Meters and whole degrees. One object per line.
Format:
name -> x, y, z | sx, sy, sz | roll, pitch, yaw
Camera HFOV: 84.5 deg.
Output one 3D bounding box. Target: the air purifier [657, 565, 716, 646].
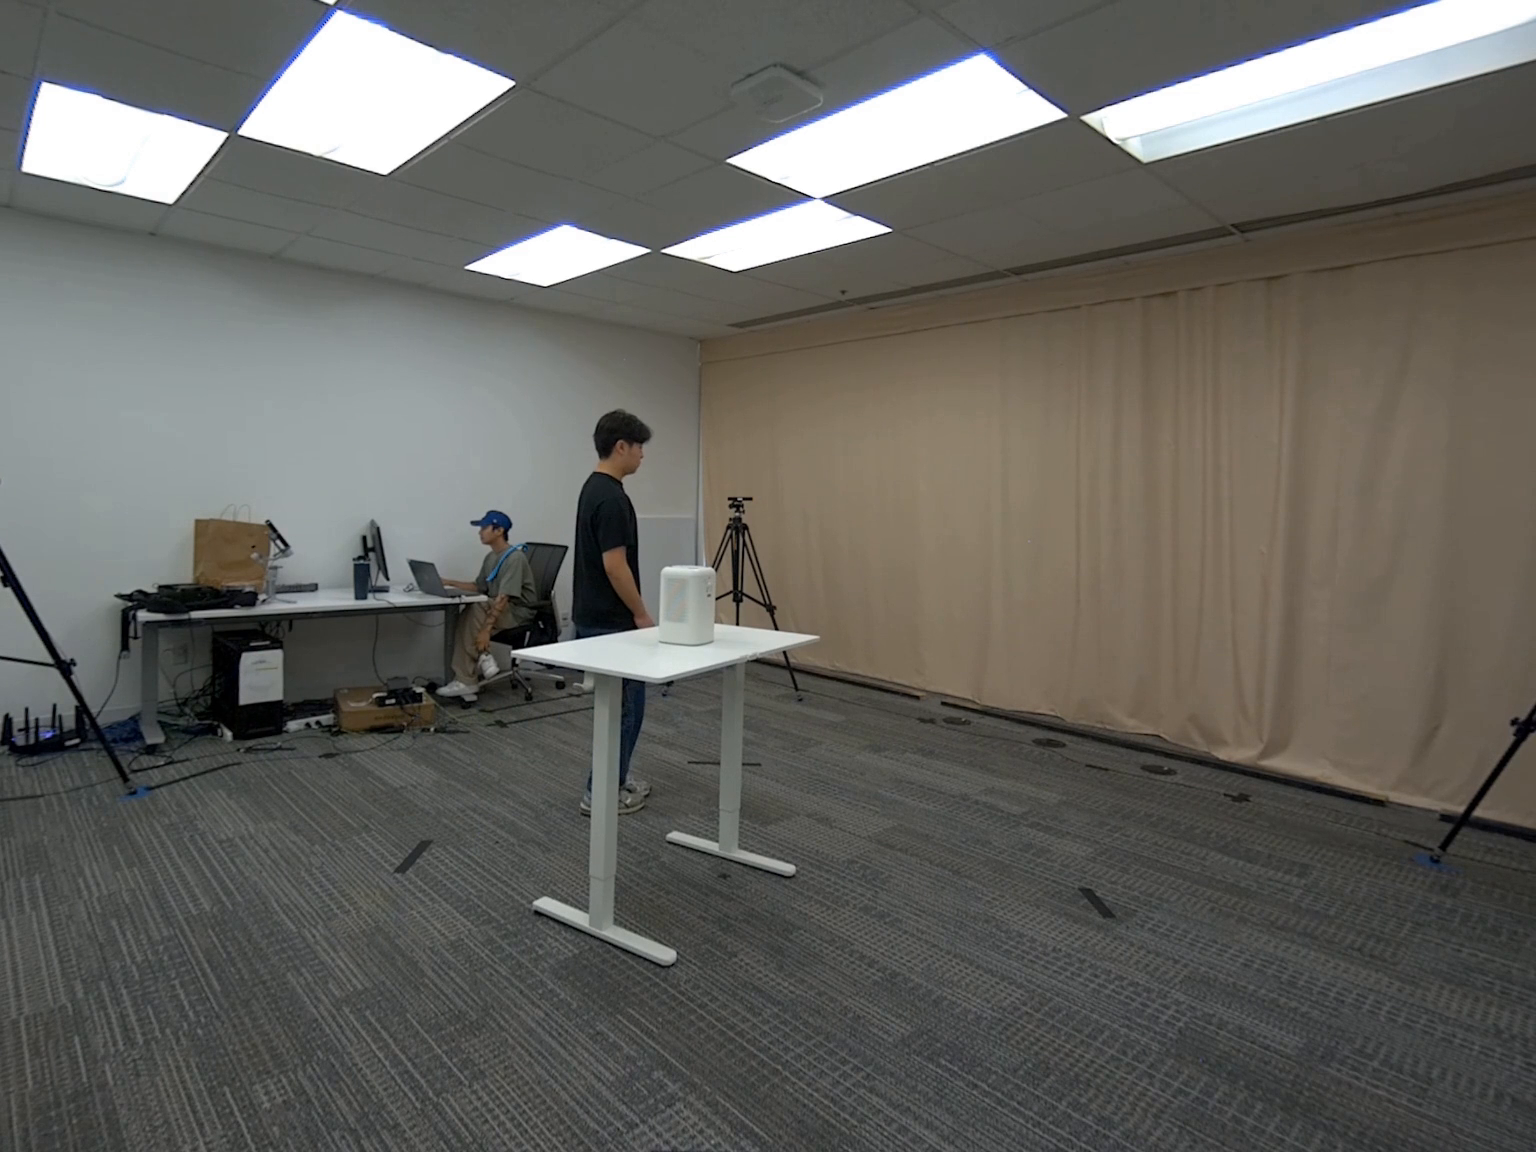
air purifier -> -0.290, 0.102, 2.972 | 0.175, 0.265, 0.168 | 5, 4, 26
